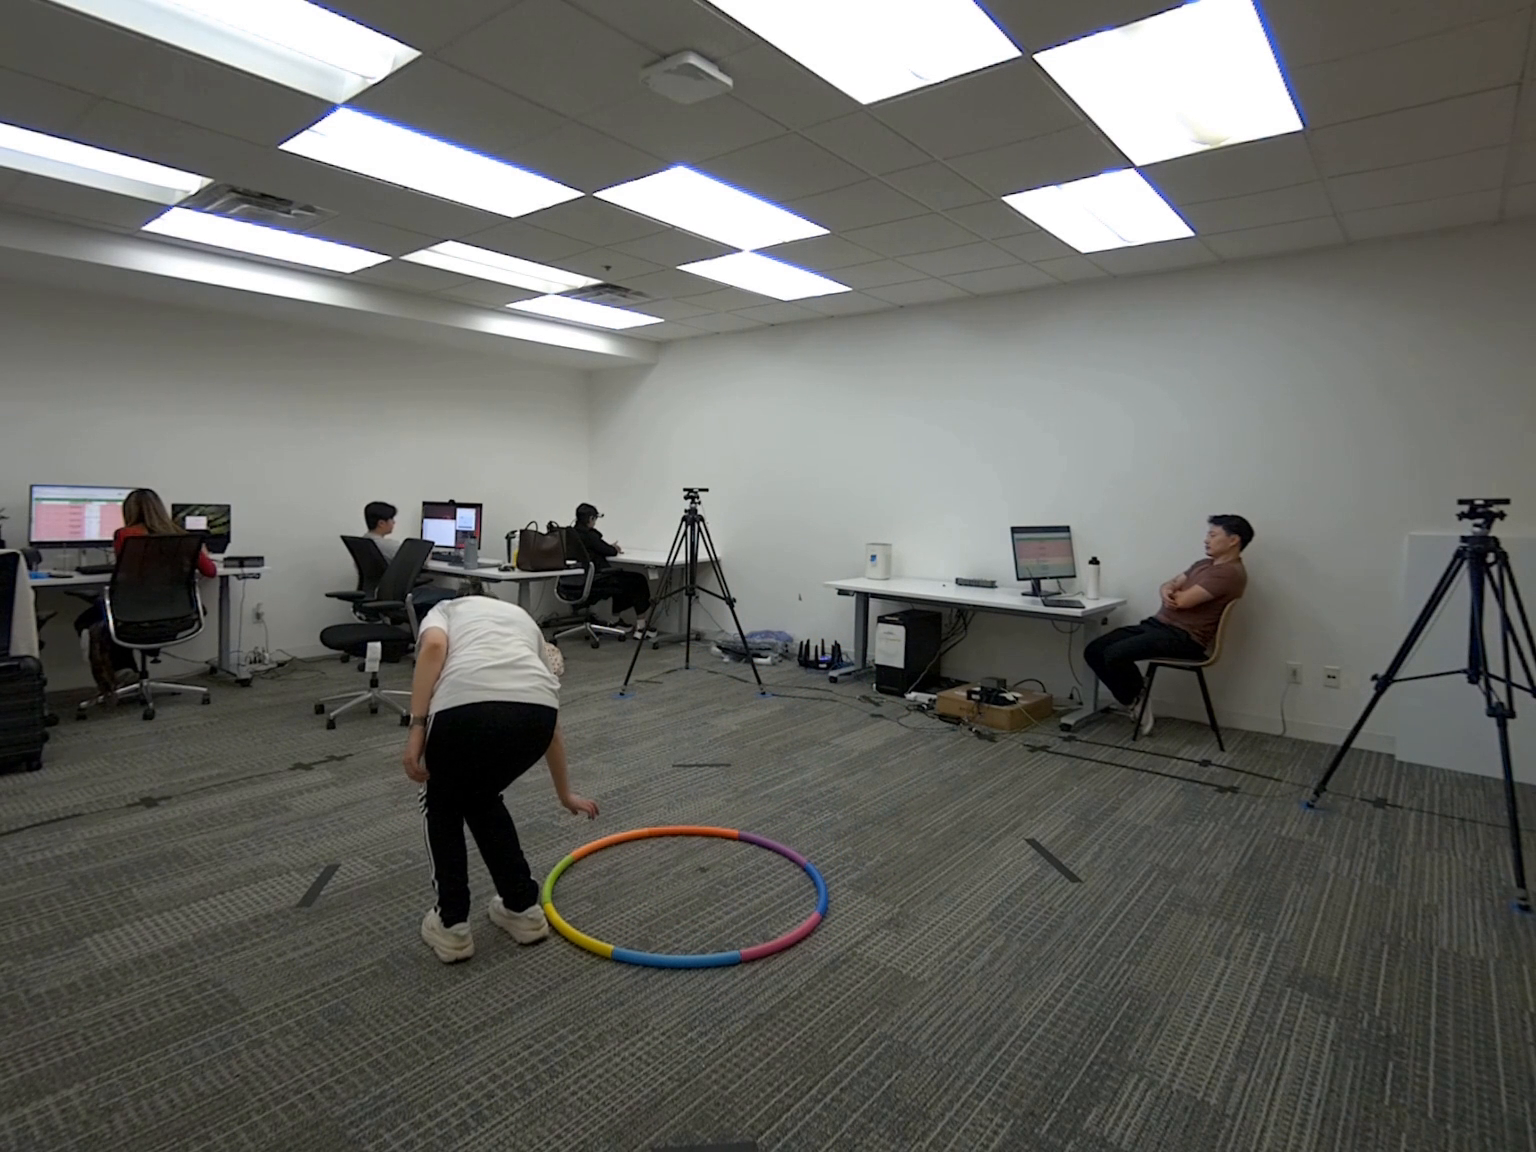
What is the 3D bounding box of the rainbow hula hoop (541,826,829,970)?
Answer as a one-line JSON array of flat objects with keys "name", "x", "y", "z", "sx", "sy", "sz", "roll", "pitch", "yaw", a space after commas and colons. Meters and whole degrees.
[{"name": "rainbow hula hoop", "x": -0.293, "y": 1.051, "z": 2.938, "sx": 0.978, "sy": 0.035, "sz": 0.984, "roll": 1, "pitch": 6, "yaw": -2}]
